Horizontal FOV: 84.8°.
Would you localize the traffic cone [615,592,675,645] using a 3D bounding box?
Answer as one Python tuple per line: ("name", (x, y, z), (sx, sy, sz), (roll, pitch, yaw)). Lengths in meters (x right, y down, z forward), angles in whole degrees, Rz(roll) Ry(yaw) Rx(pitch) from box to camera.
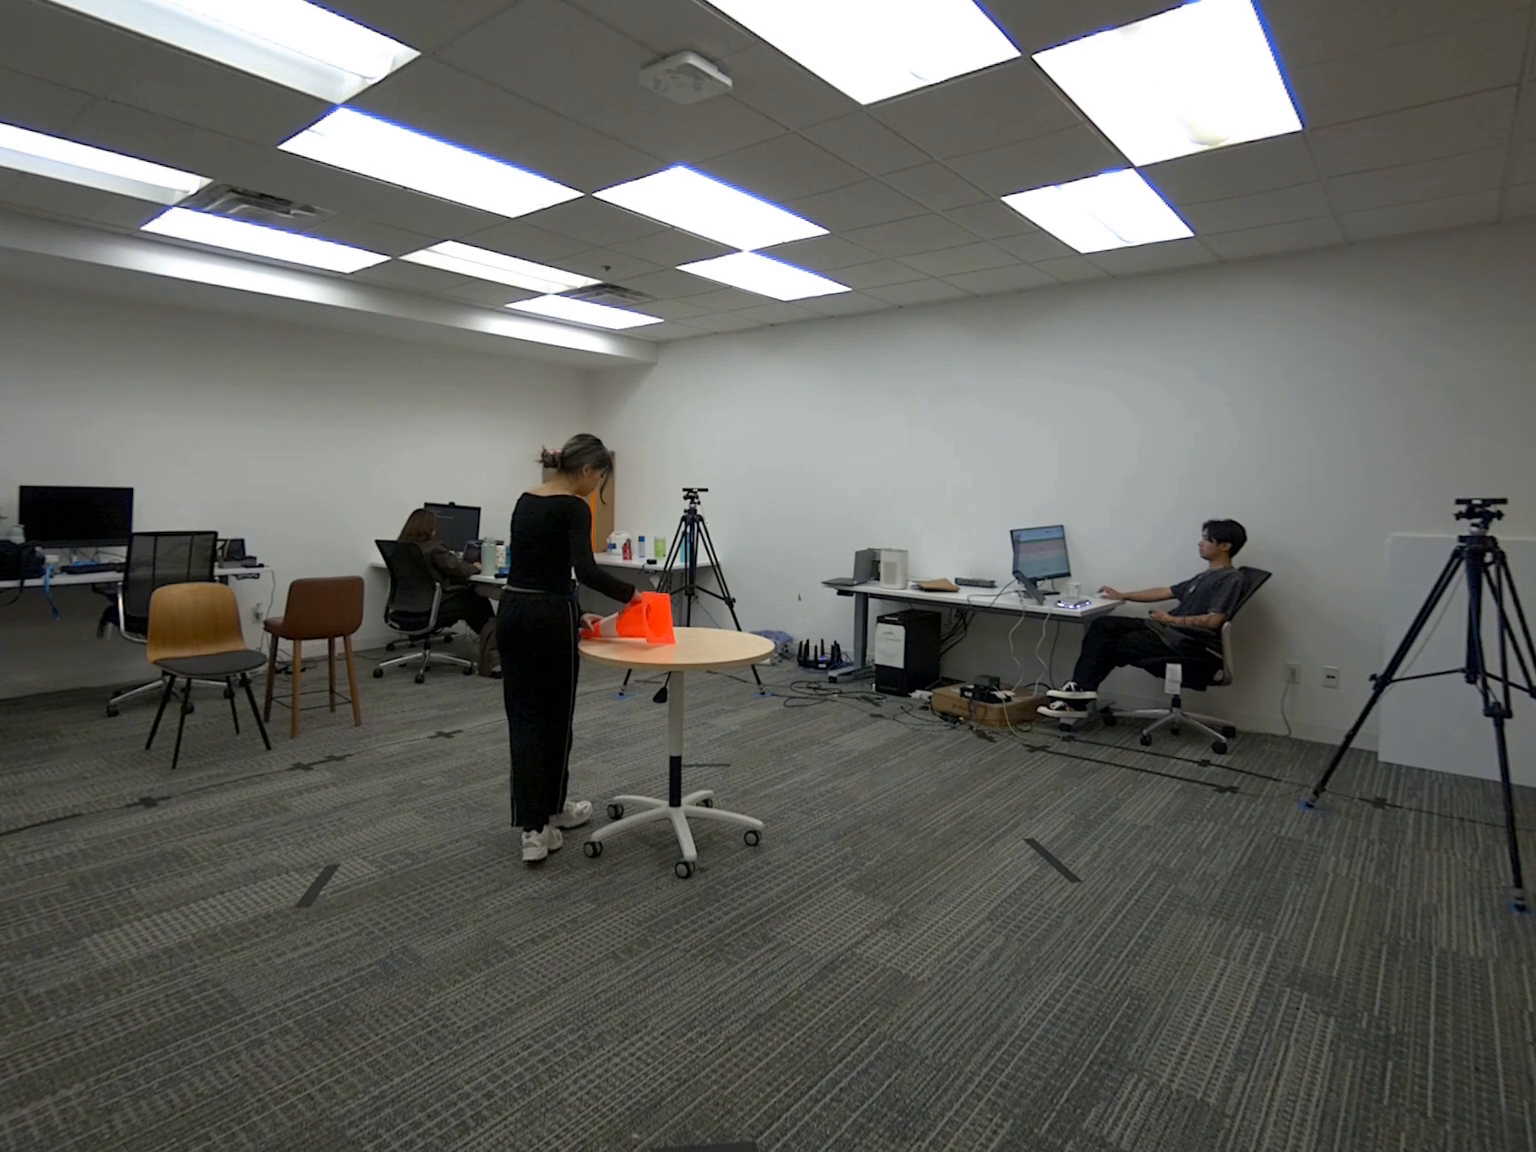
("traffic cone", (-0.604, 0.202, 3.362), (0.391, 0.208, 0.196), (-14, -14, 28))
